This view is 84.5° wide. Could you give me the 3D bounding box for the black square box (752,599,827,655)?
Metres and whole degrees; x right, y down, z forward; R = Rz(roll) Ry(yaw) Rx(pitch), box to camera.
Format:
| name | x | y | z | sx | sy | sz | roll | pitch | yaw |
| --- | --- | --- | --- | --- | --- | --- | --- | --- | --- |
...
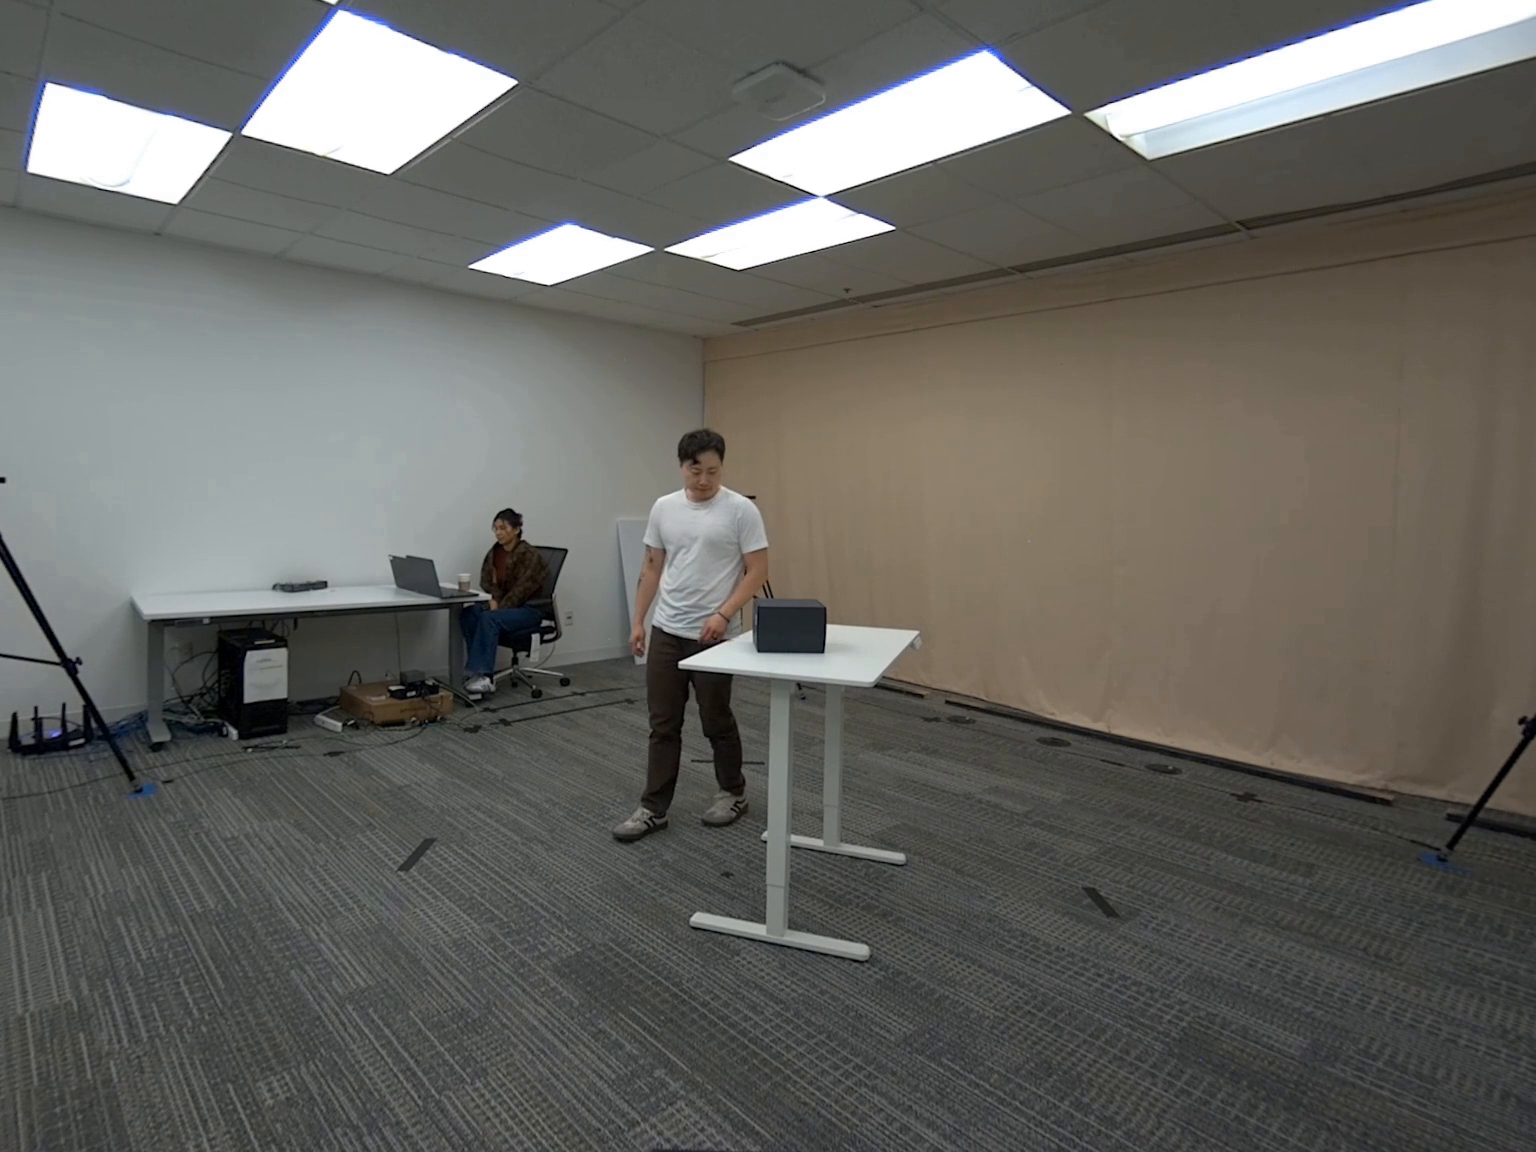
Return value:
| name | x | y | z | sx | sy | sz | roll | pitch | yaw |
| --- | --- | --- | --- | --- | --- | --- | --- | --- | --- |
| black square box | 0.060 | 0.167 | 2.886 | 0.228 | 0.155 | 0.218 | 0 | 4 | -2 |
